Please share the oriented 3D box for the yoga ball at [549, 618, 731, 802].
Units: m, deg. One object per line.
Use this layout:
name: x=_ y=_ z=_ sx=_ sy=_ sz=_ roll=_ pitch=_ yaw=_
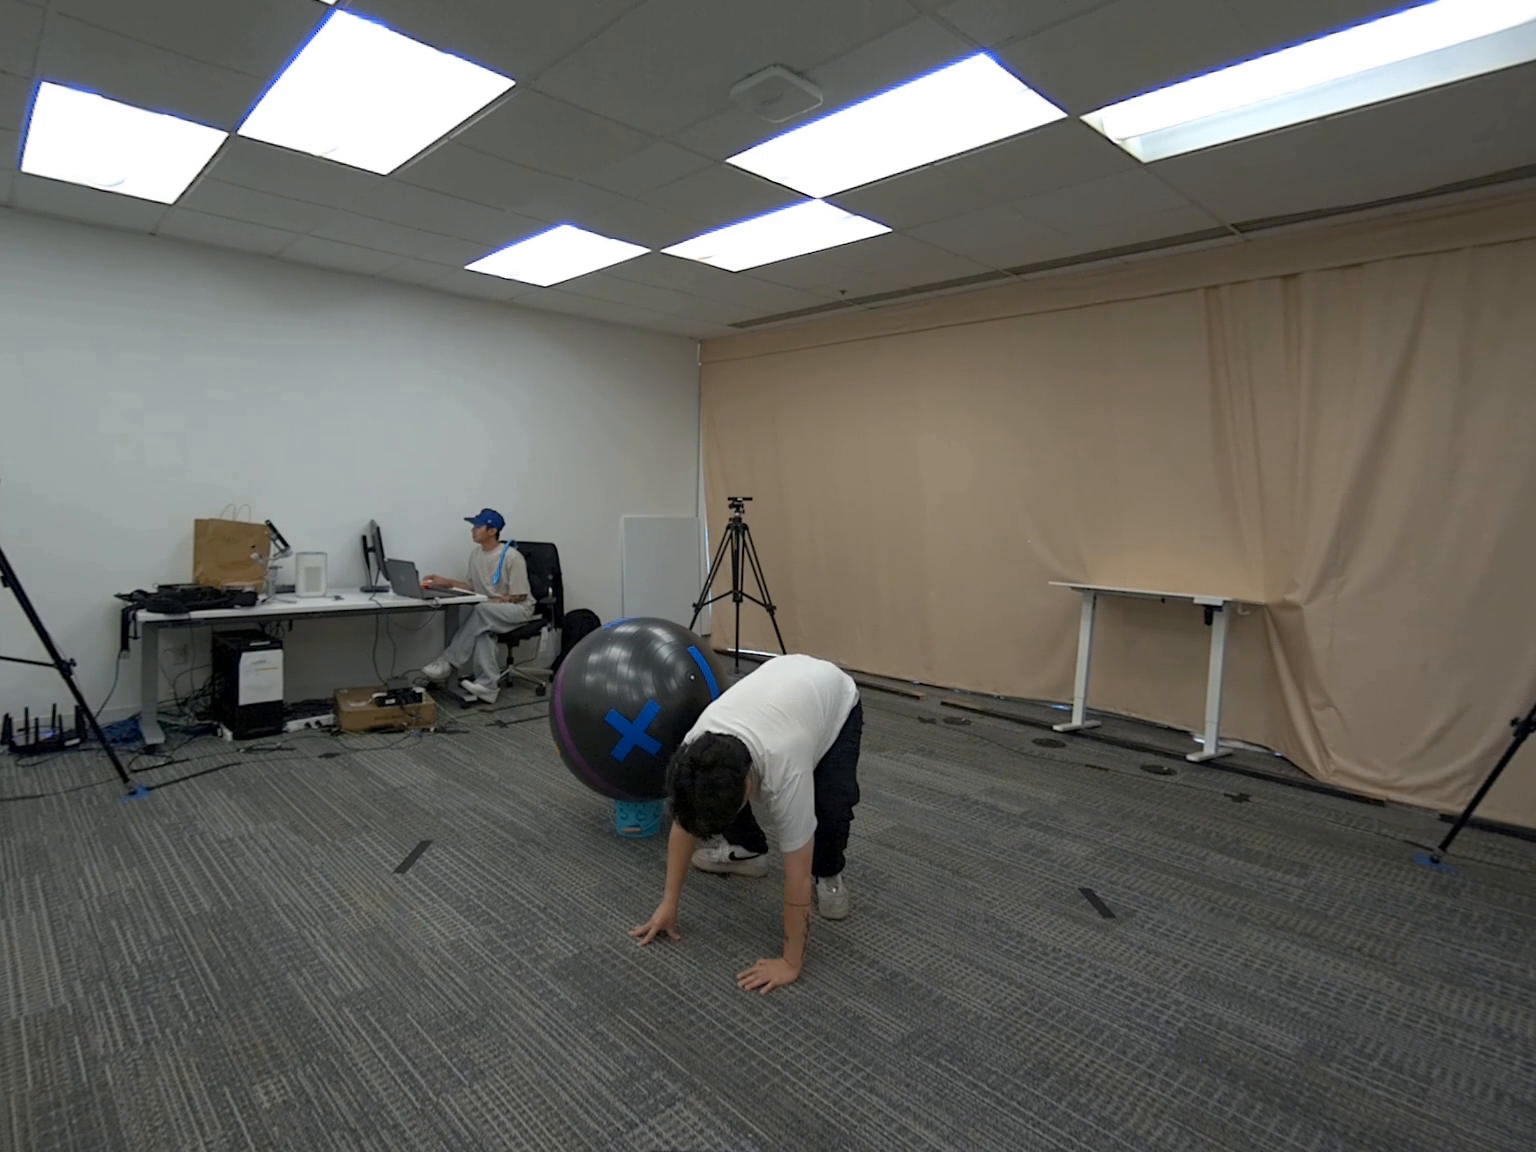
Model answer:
yoga ball: x=-0.531 y=0.553 z=3.512 sx=0.757 sy=0.756 sz=0.760 roll=1 pitch=4 yaw=-1
